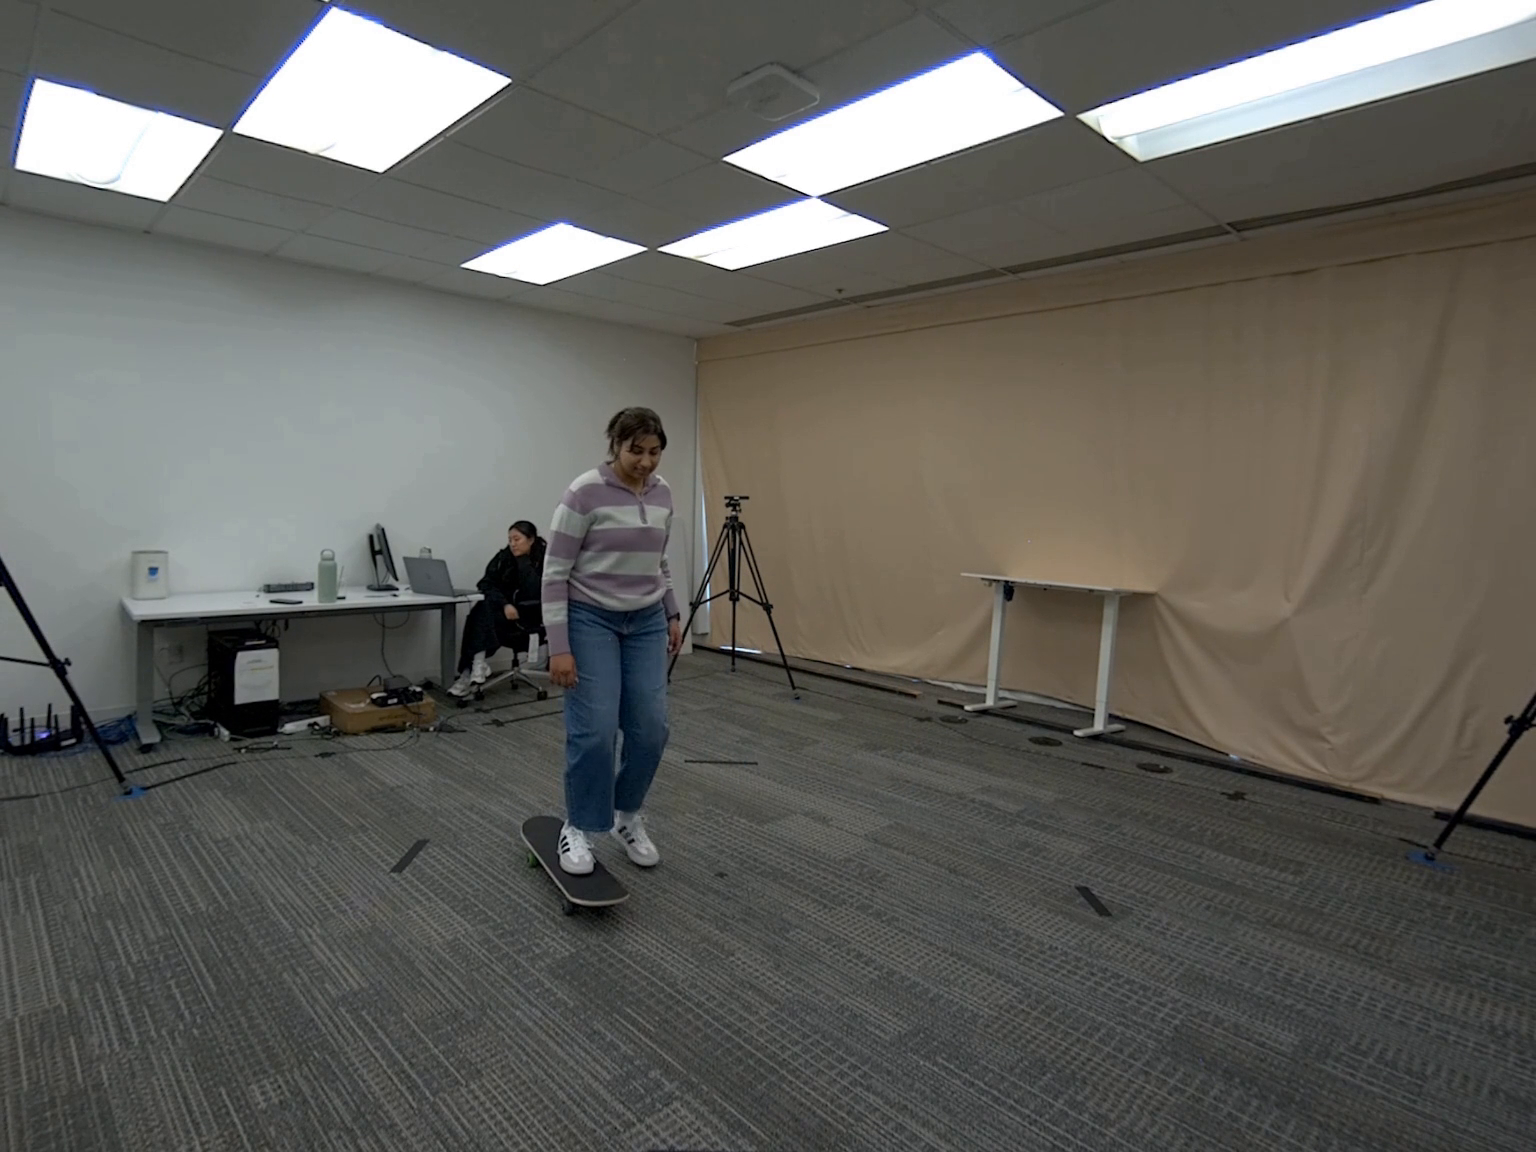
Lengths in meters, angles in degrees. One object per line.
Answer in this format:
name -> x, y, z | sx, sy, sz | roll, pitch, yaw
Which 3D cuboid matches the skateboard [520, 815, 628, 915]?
skateboard -> -0.709, 1.043, 2.997 | 0.189, 0.110, 0.804 | 1, 5, -31
